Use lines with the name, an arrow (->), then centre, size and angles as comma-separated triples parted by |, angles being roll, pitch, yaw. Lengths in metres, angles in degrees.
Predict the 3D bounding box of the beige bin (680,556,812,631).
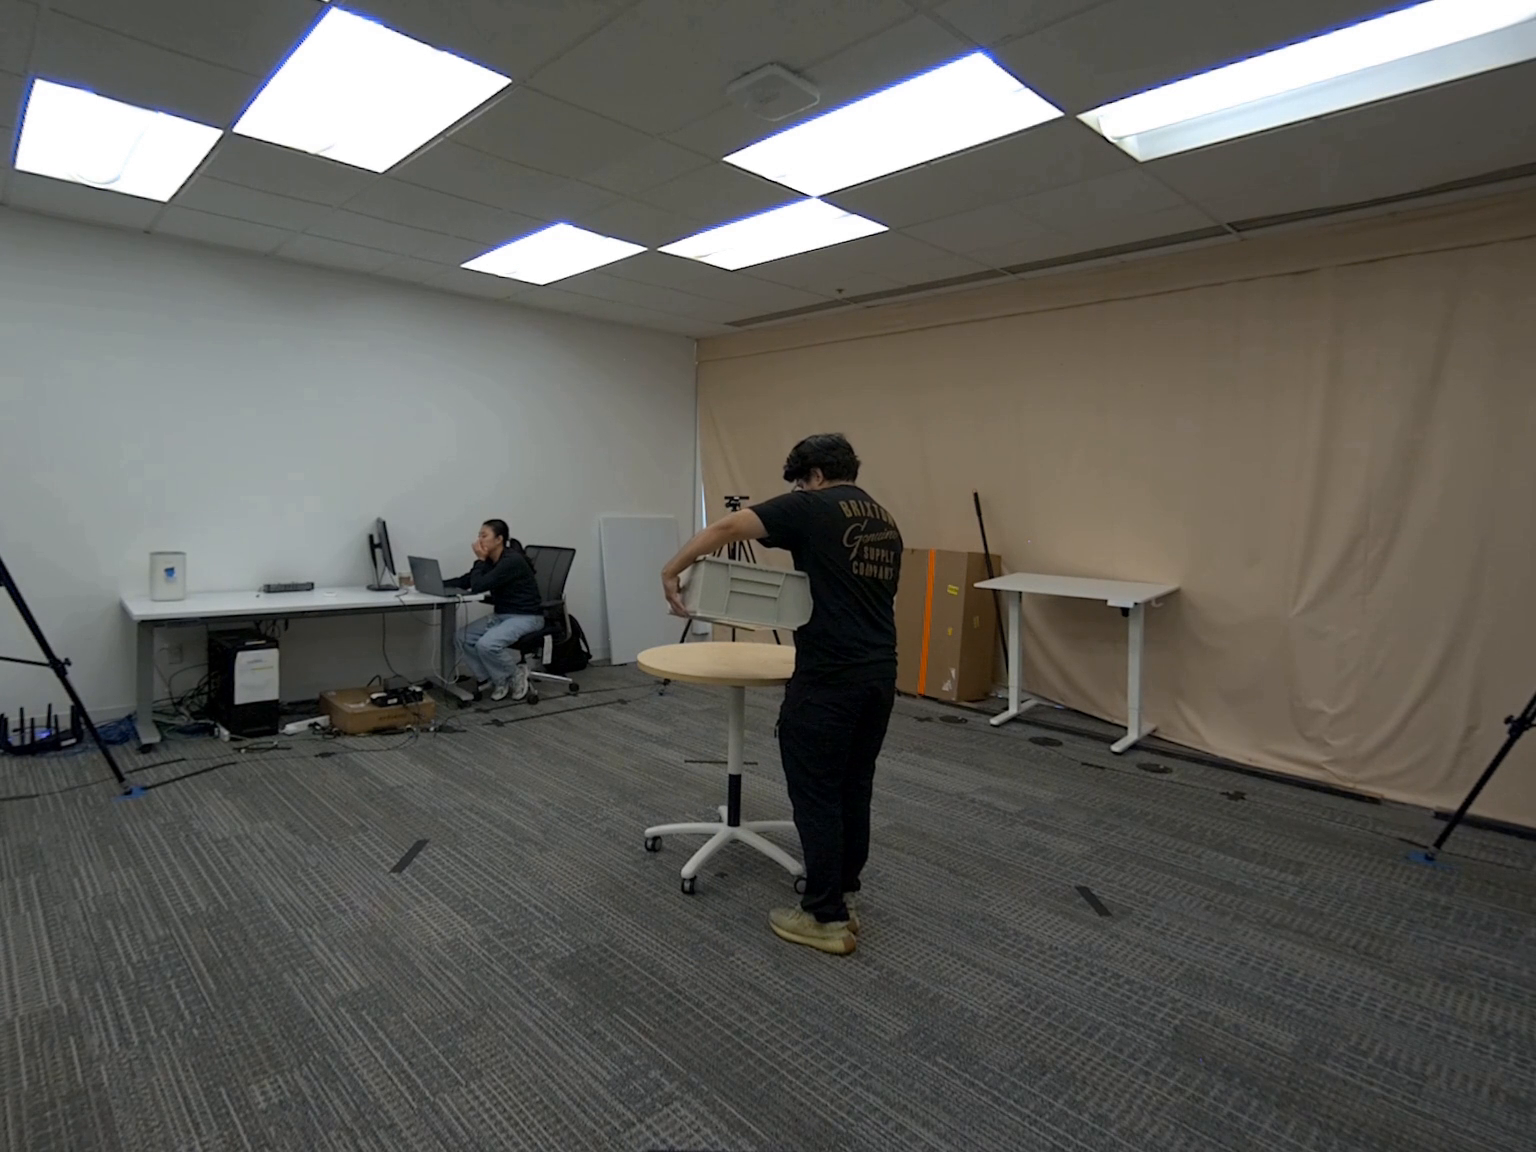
beige bin -> -0.094, 0.072, 2.716 | 0.371, 0.189, 0.427 | 11, -5, -18
